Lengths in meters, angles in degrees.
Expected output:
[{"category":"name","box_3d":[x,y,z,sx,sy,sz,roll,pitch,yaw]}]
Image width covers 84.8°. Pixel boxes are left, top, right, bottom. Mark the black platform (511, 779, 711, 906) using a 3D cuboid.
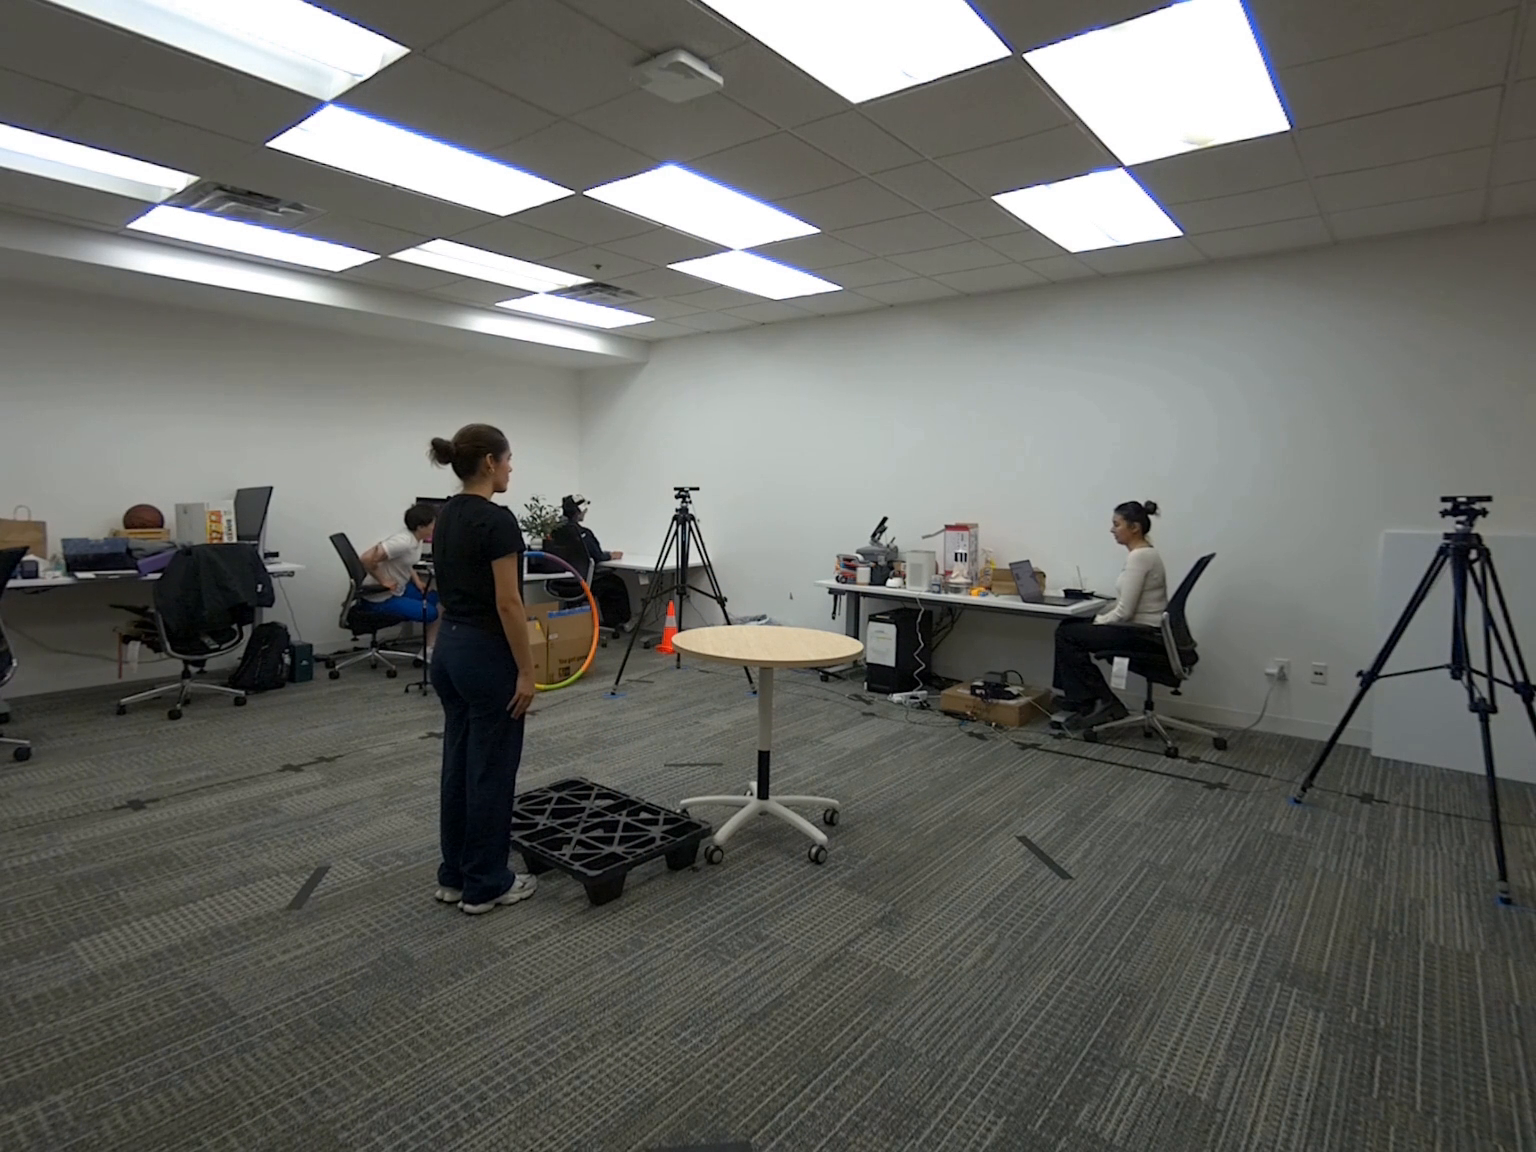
[{"category":"black platform","box_3d":[-0.685,0.982,3.234,0.833,0.143,0.588,5,7,40]}]
